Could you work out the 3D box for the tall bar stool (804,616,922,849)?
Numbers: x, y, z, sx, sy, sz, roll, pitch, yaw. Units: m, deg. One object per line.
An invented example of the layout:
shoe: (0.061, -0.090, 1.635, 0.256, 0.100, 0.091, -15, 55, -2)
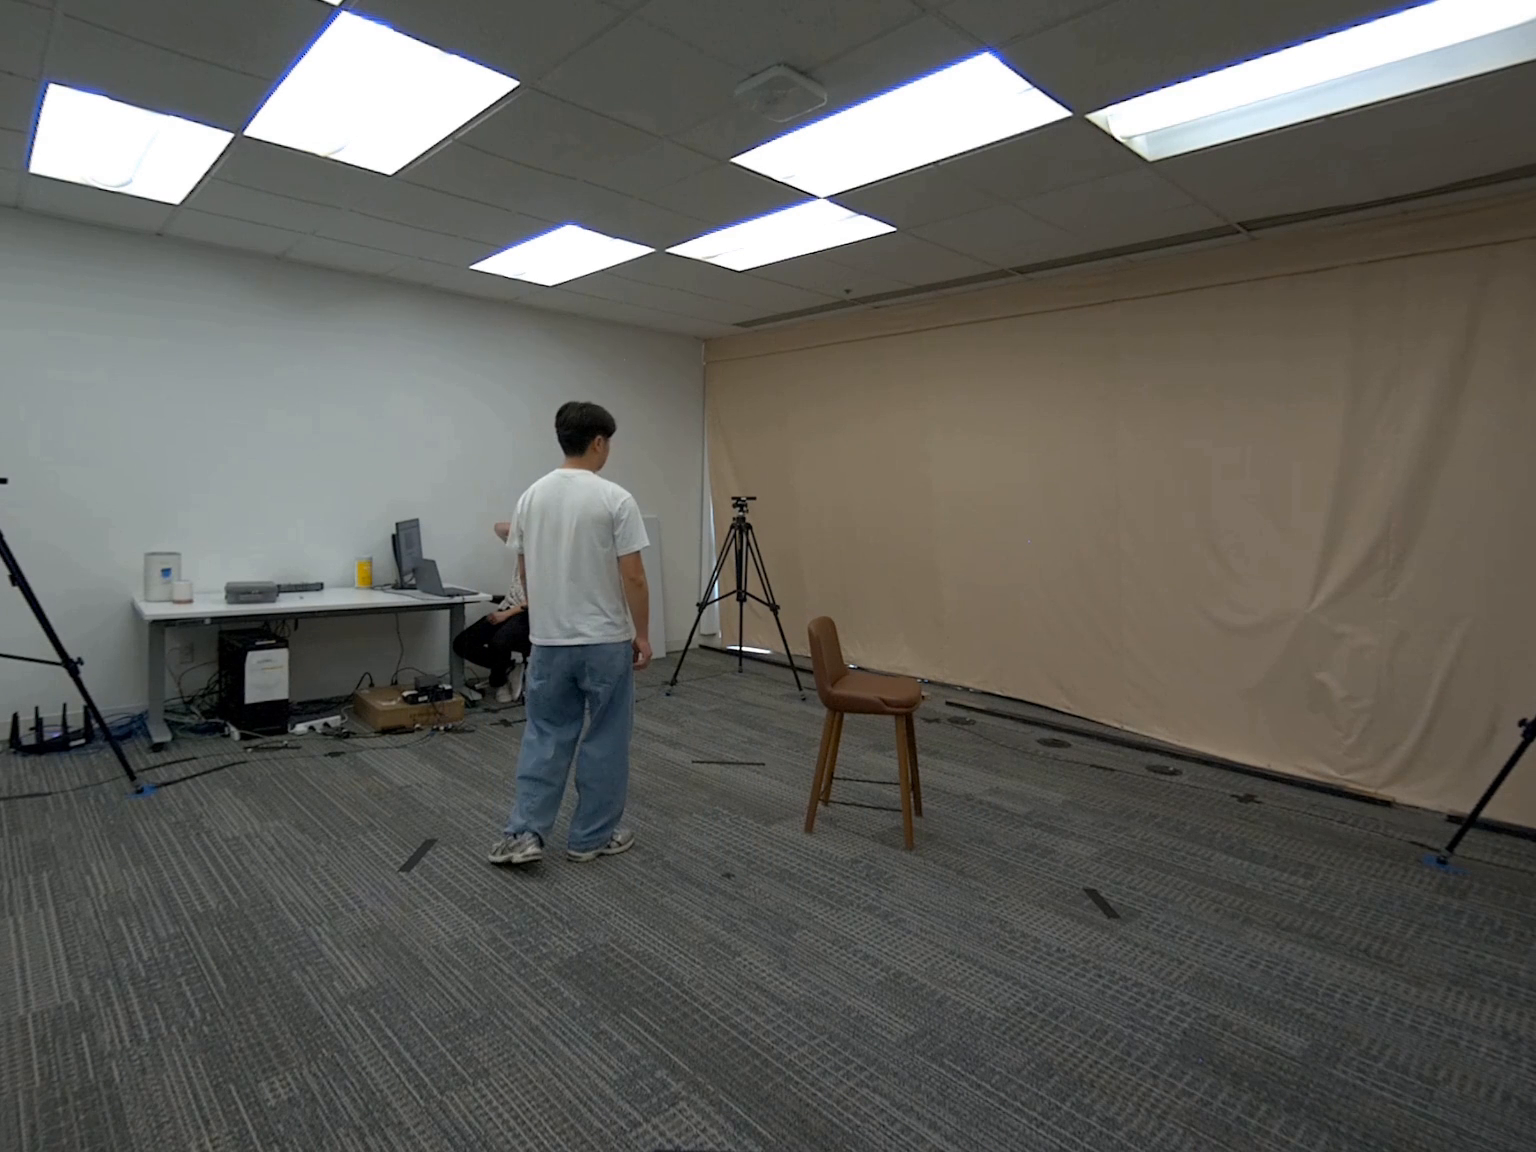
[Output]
tall bar stool: (0.416, 0.640, 3.625, 0.474, 0.889, 0.451, 0, 2, 17)
